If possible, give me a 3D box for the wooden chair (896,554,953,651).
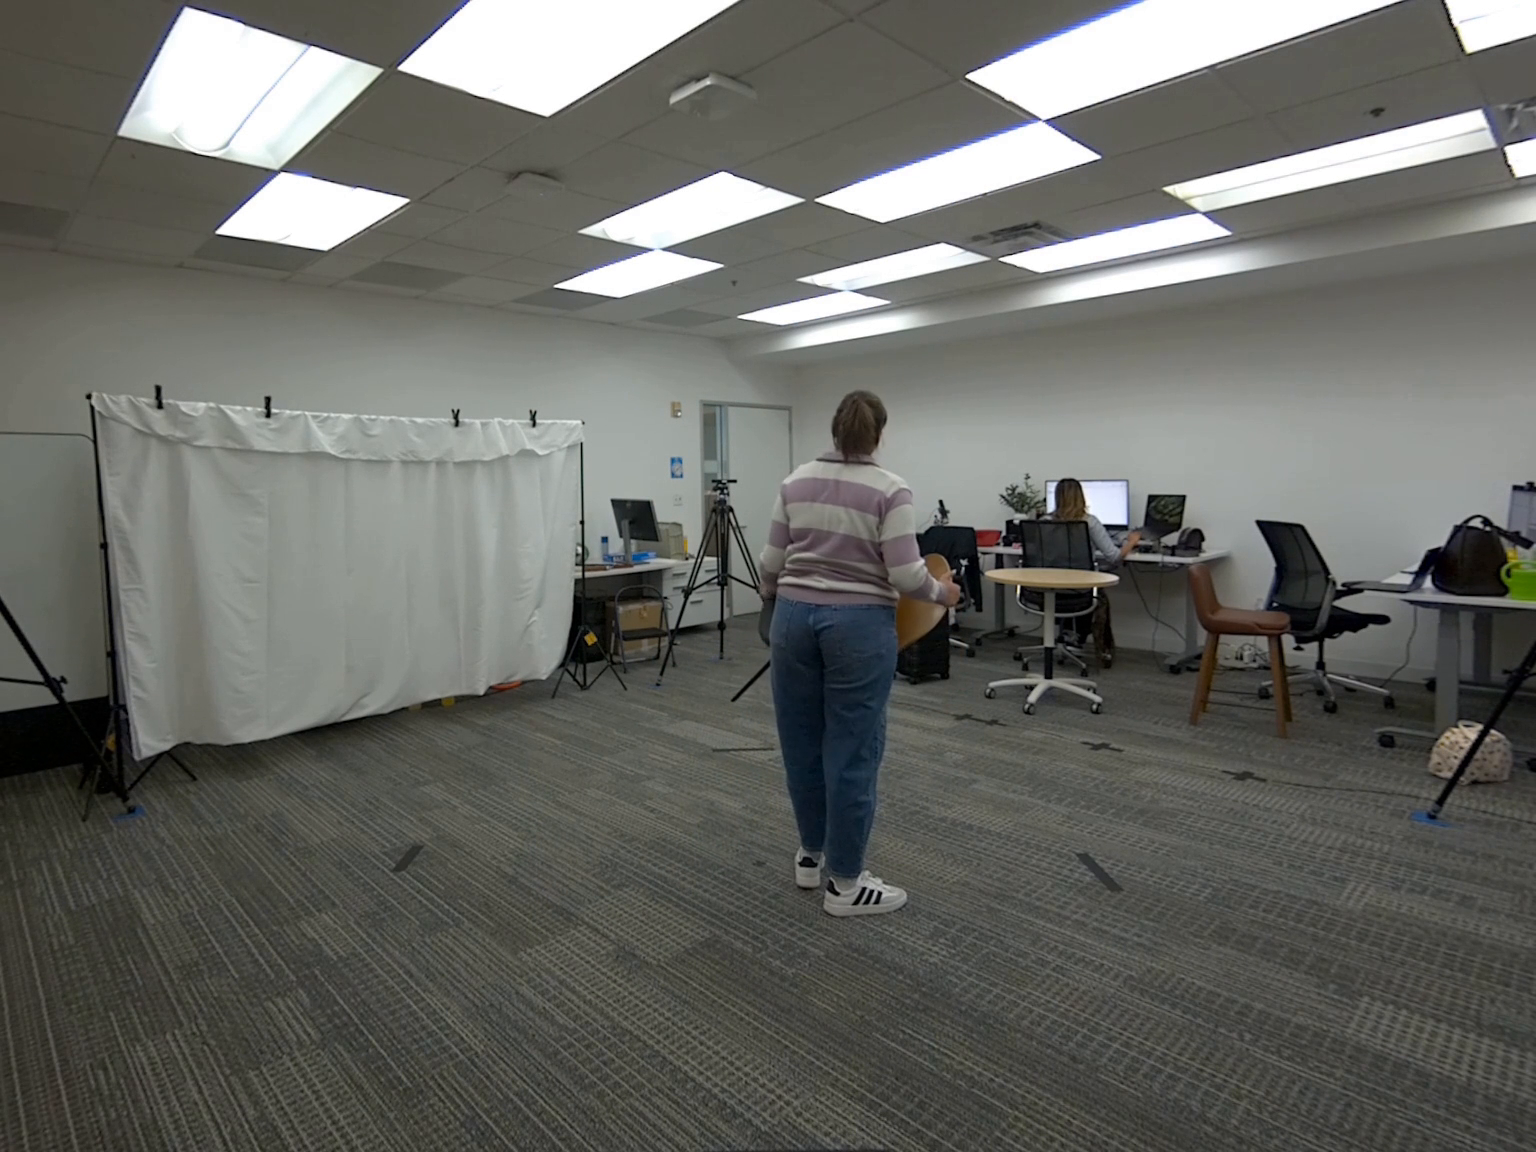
[{"bbox_3d":[0.221,0.178,3.169,0.521,0.485,0.869,25,-37,-4],"label":"wooden chair"}]
